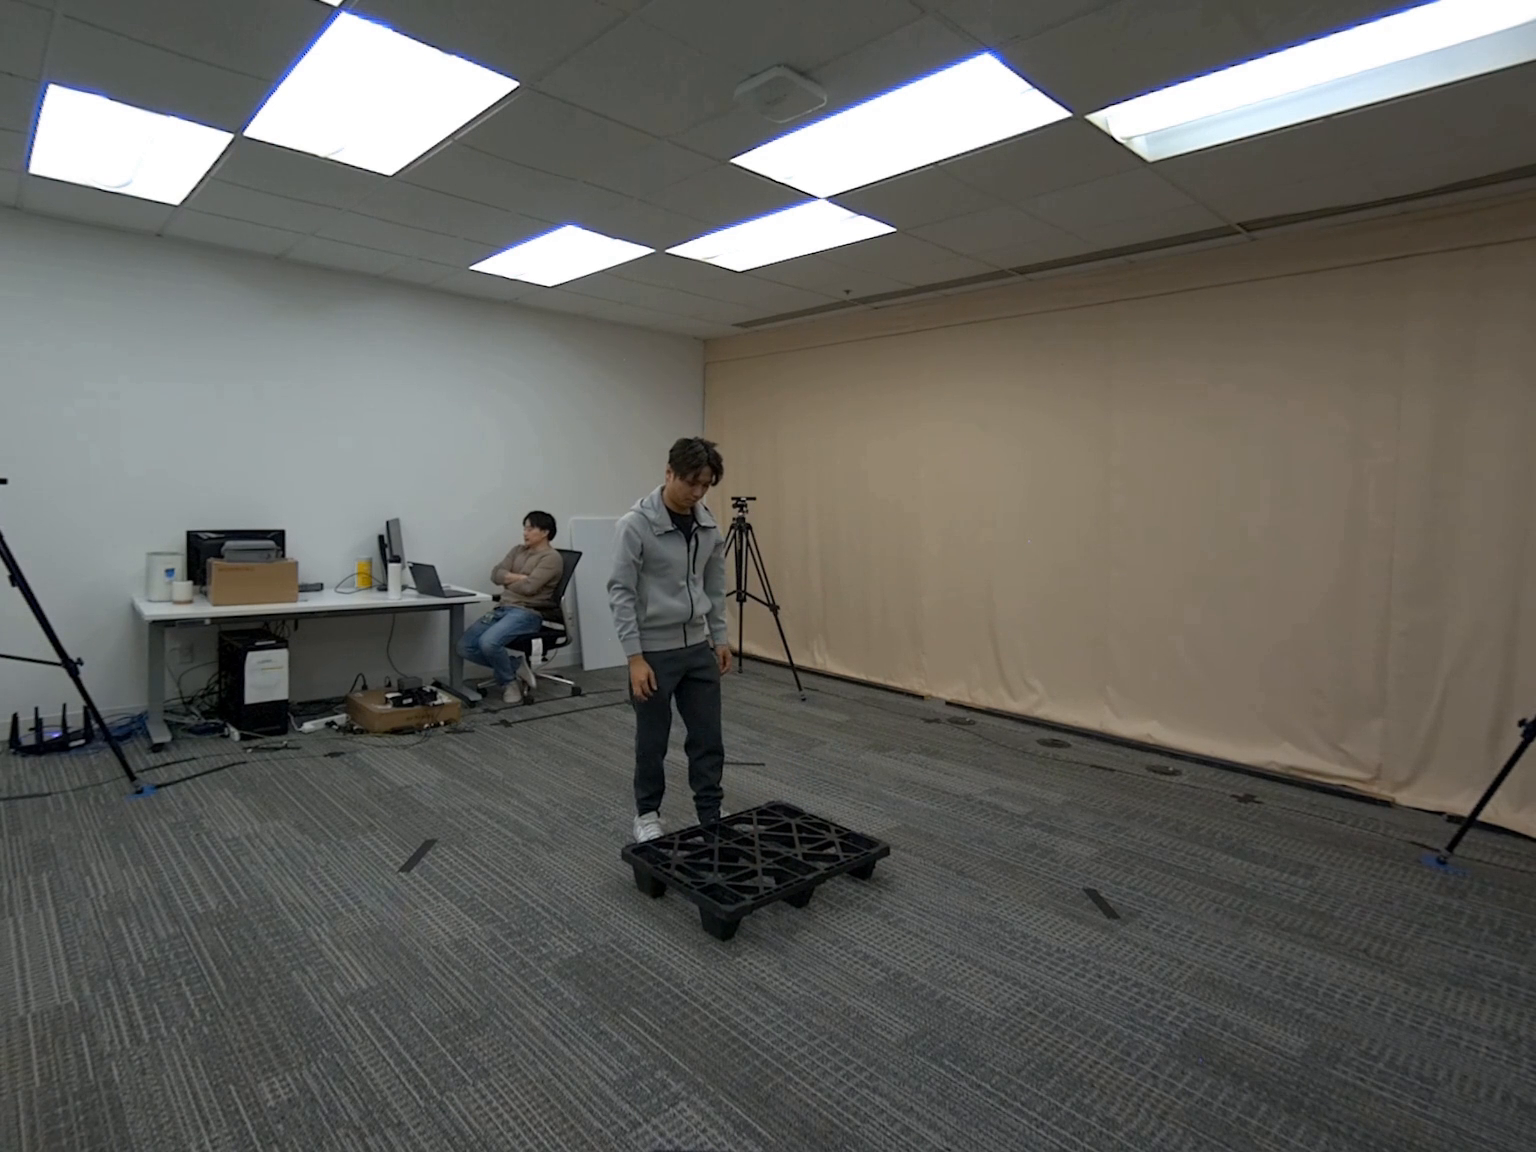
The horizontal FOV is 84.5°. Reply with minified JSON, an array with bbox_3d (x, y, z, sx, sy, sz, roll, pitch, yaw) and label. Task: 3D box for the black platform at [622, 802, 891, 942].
[{"bbox_3d":[-0.048,1.052,3.046,0.787,0.143,0.620,-4,6,-43],"label":"black platform"}]
